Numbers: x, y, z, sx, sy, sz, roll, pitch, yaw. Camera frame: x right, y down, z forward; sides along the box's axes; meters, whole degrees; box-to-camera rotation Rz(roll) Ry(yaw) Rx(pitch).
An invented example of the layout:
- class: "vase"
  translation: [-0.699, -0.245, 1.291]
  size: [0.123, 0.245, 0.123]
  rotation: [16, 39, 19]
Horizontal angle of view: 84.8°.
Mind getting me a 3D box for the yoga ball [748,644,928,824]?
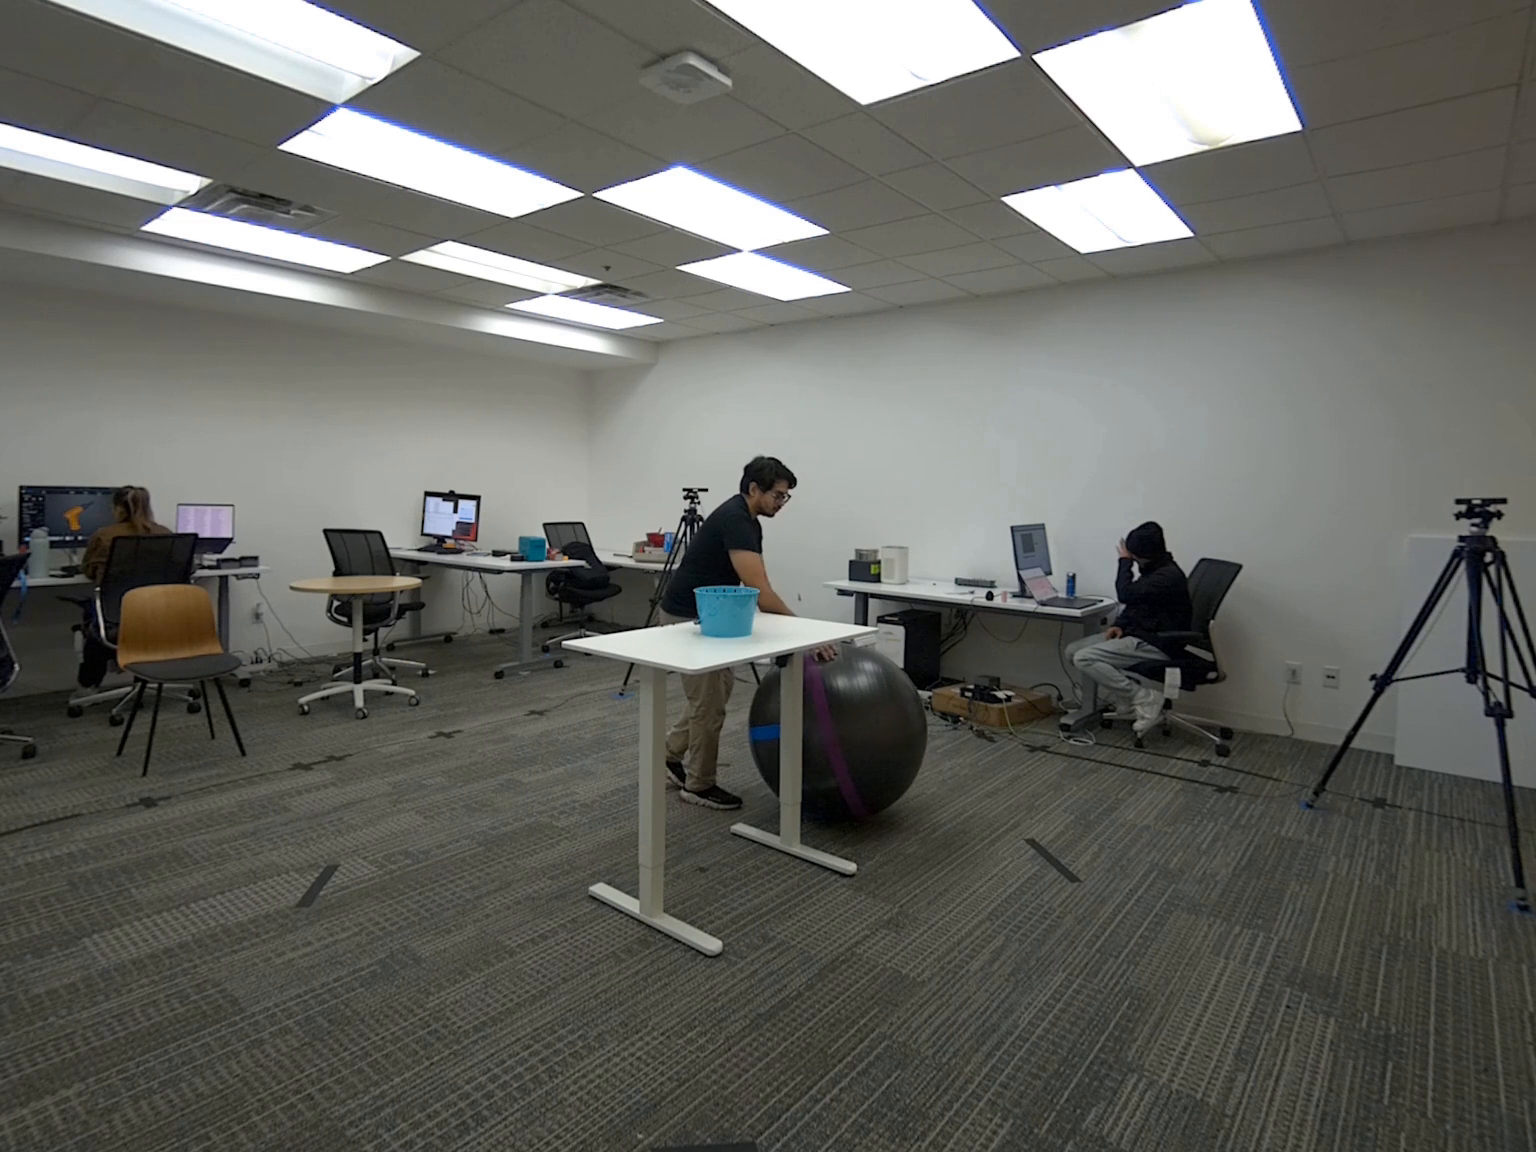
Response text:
- class: "yoga ball"
  translation: [0.293, 0.660, 3.656]
  size: [0.757, 0.755, 0.762]
  rotation: [1, 4, -2]
